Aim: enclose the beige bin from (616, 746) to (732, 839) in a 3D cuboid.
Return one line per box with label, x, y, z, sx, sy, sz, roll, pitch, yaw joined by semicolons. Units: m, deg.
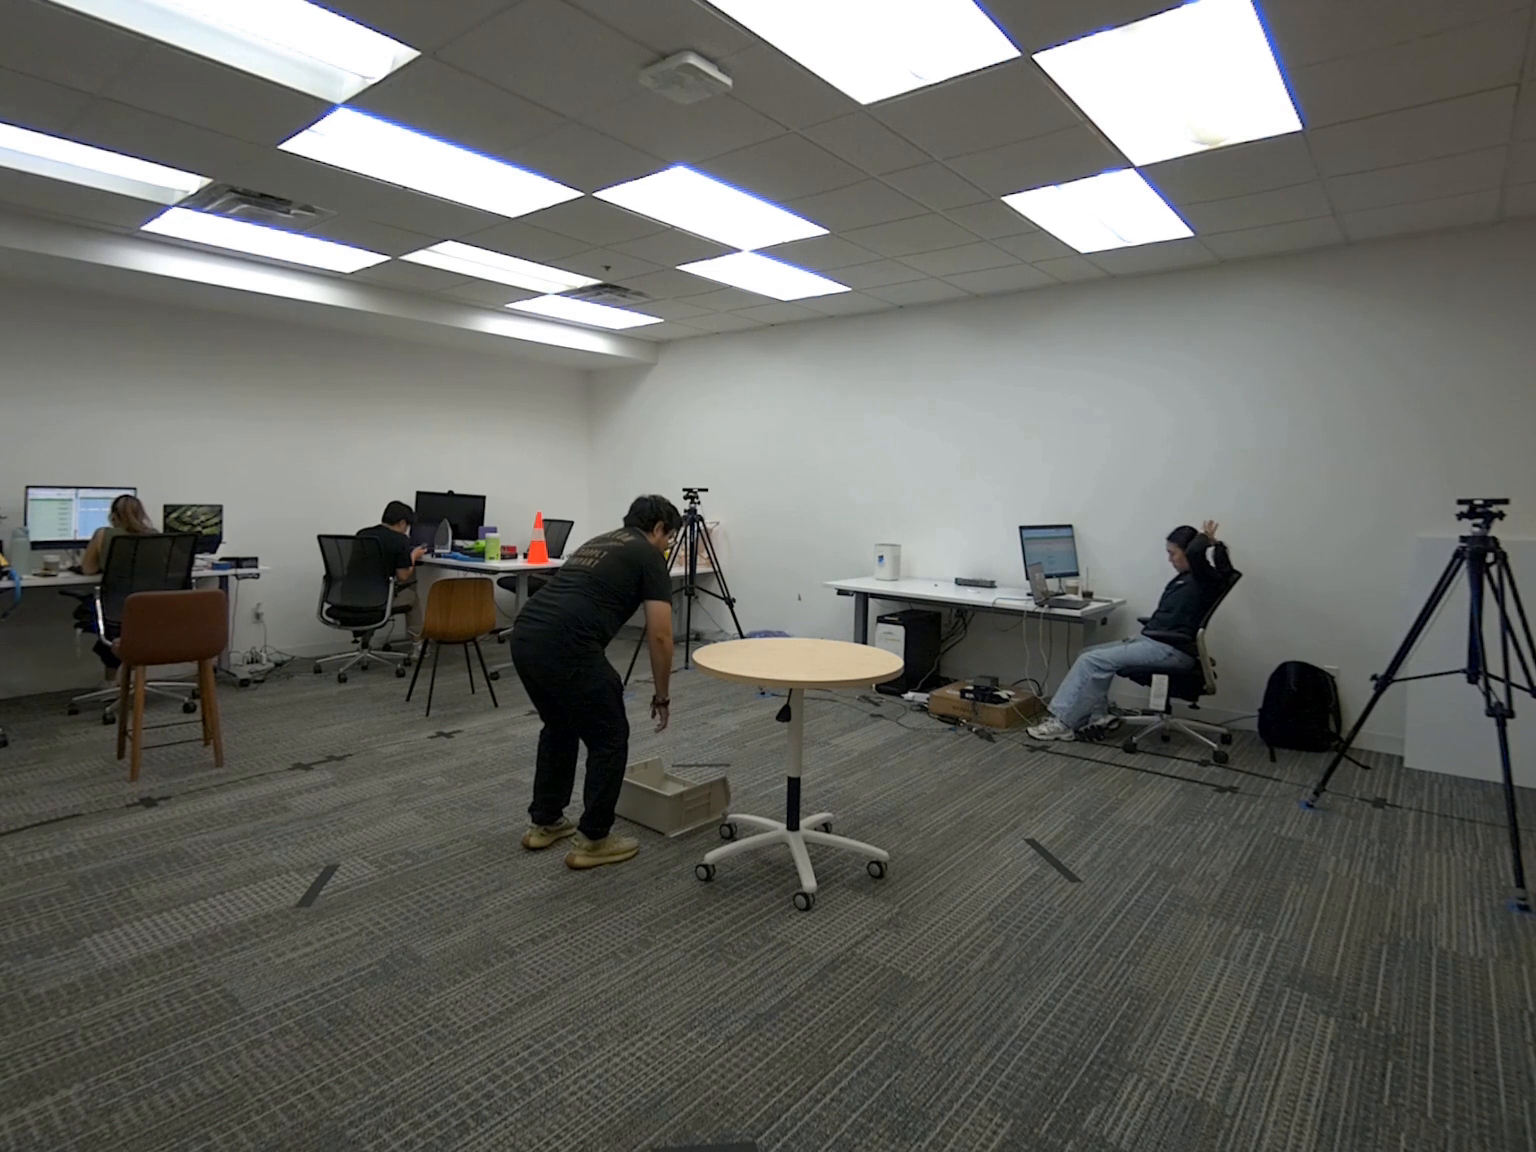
beige bin;-0.443;0.920;3.639;0.437;0.188;0.366;5;8;40
